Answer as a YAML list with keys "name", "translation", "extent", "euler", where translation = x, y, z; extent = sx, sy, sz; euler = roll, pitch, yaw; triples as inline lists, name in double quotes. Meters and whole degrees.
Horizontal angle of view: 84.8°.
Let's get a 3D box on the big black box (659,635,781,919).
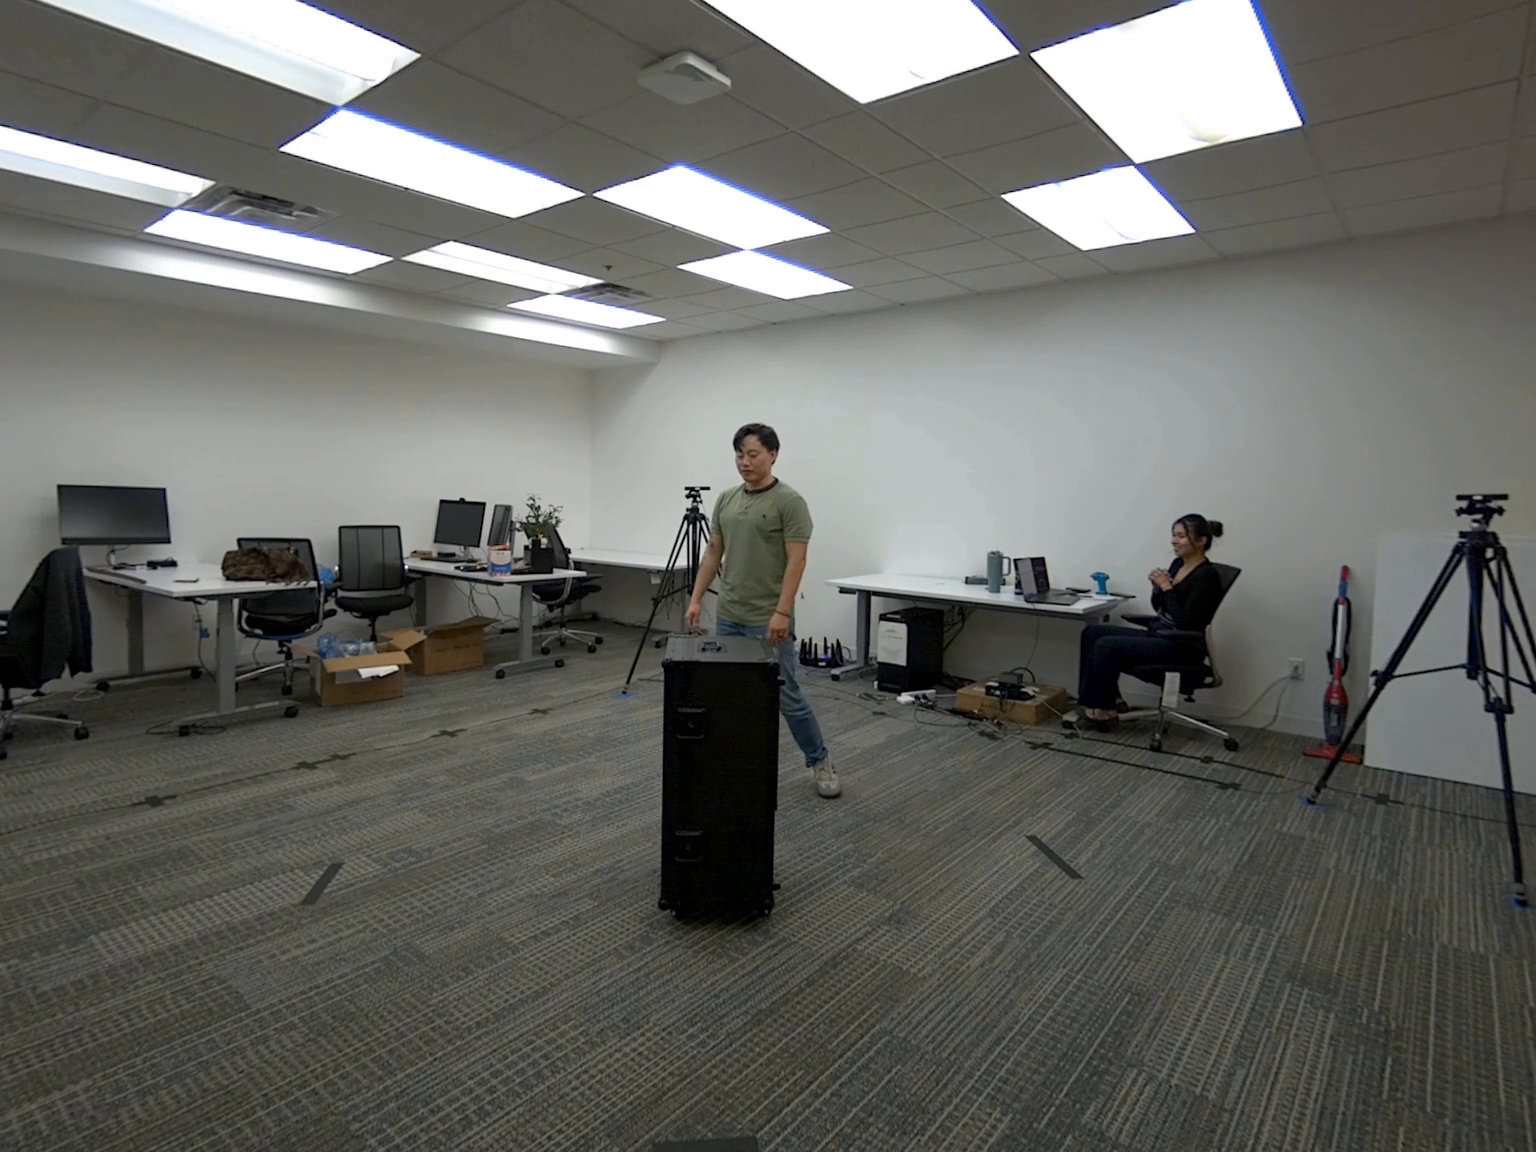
- name: "big black box"
  translation: [-0.175, 0.664, 2.881]
  extent: [0.395, 0.859, 0.524]
  euler: [1, 3, -3]
